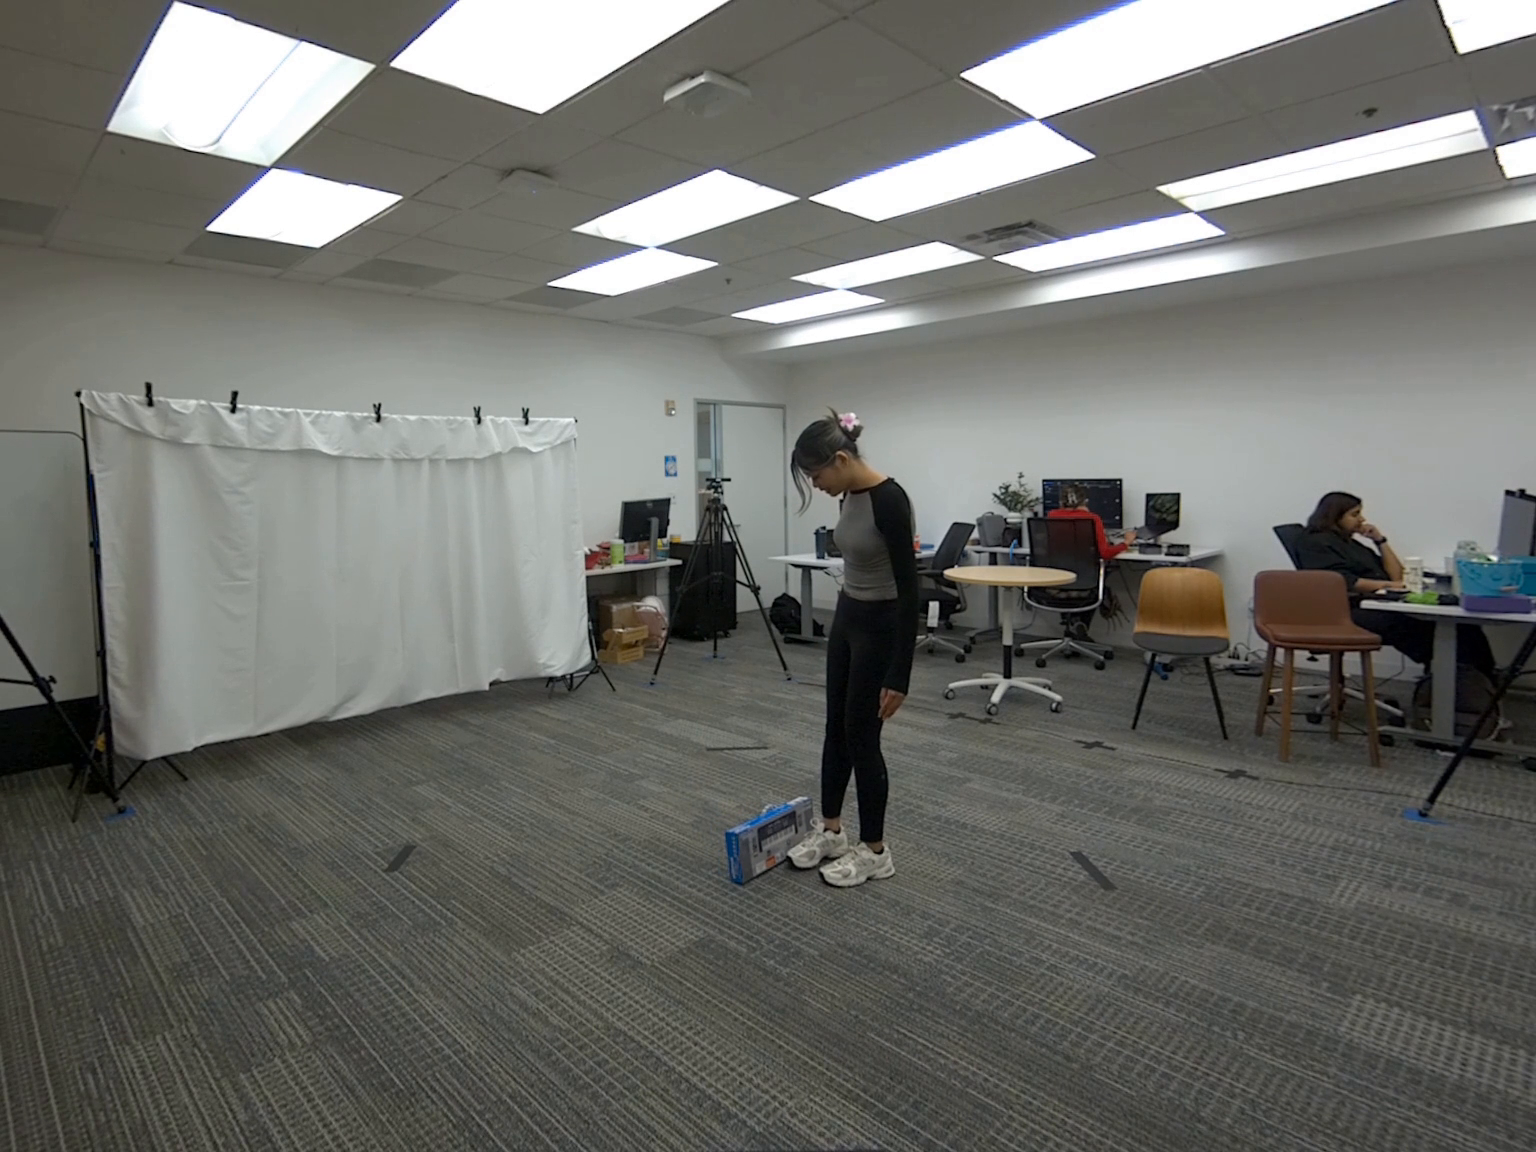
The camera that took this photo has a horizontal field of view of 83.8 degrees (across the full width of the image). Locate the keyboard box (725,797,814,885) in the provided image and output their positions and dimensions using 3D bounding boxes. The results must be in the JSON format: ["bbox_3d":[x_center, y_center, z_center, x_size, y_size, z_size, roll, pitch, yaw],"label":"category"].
[{"bbox_3d":[0.022,0.954,3.113,0.060,0.176,0.426,-7,1,40],"label":"keyboard box"}]
